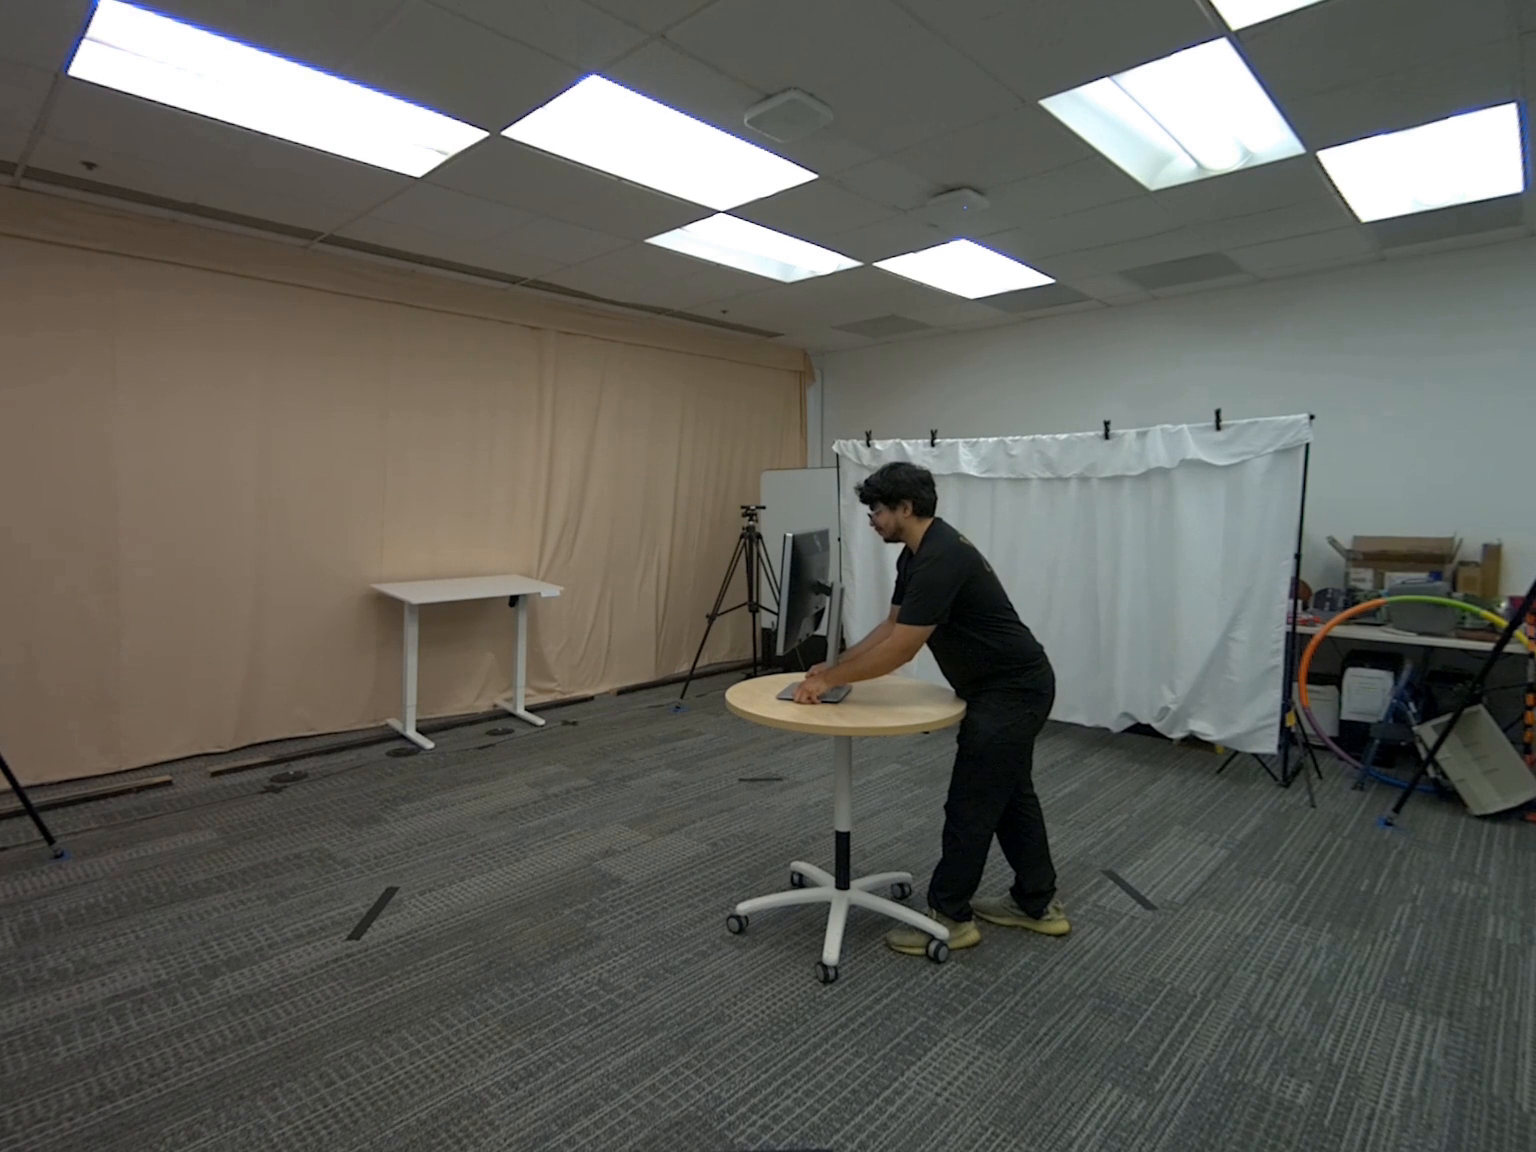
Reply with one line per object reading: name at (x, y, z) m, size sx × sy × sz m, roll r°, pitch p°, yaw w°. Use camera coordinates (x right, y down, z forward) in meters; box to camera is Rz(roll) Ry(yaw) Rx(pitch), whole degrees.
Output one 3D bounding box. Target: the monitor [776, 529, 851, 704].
monitor at (0.186, 0.124, 2.720) m, size 0.214 × 0.552 × 0.556 m, roll 1°, pitch 4°, yaw 15°
